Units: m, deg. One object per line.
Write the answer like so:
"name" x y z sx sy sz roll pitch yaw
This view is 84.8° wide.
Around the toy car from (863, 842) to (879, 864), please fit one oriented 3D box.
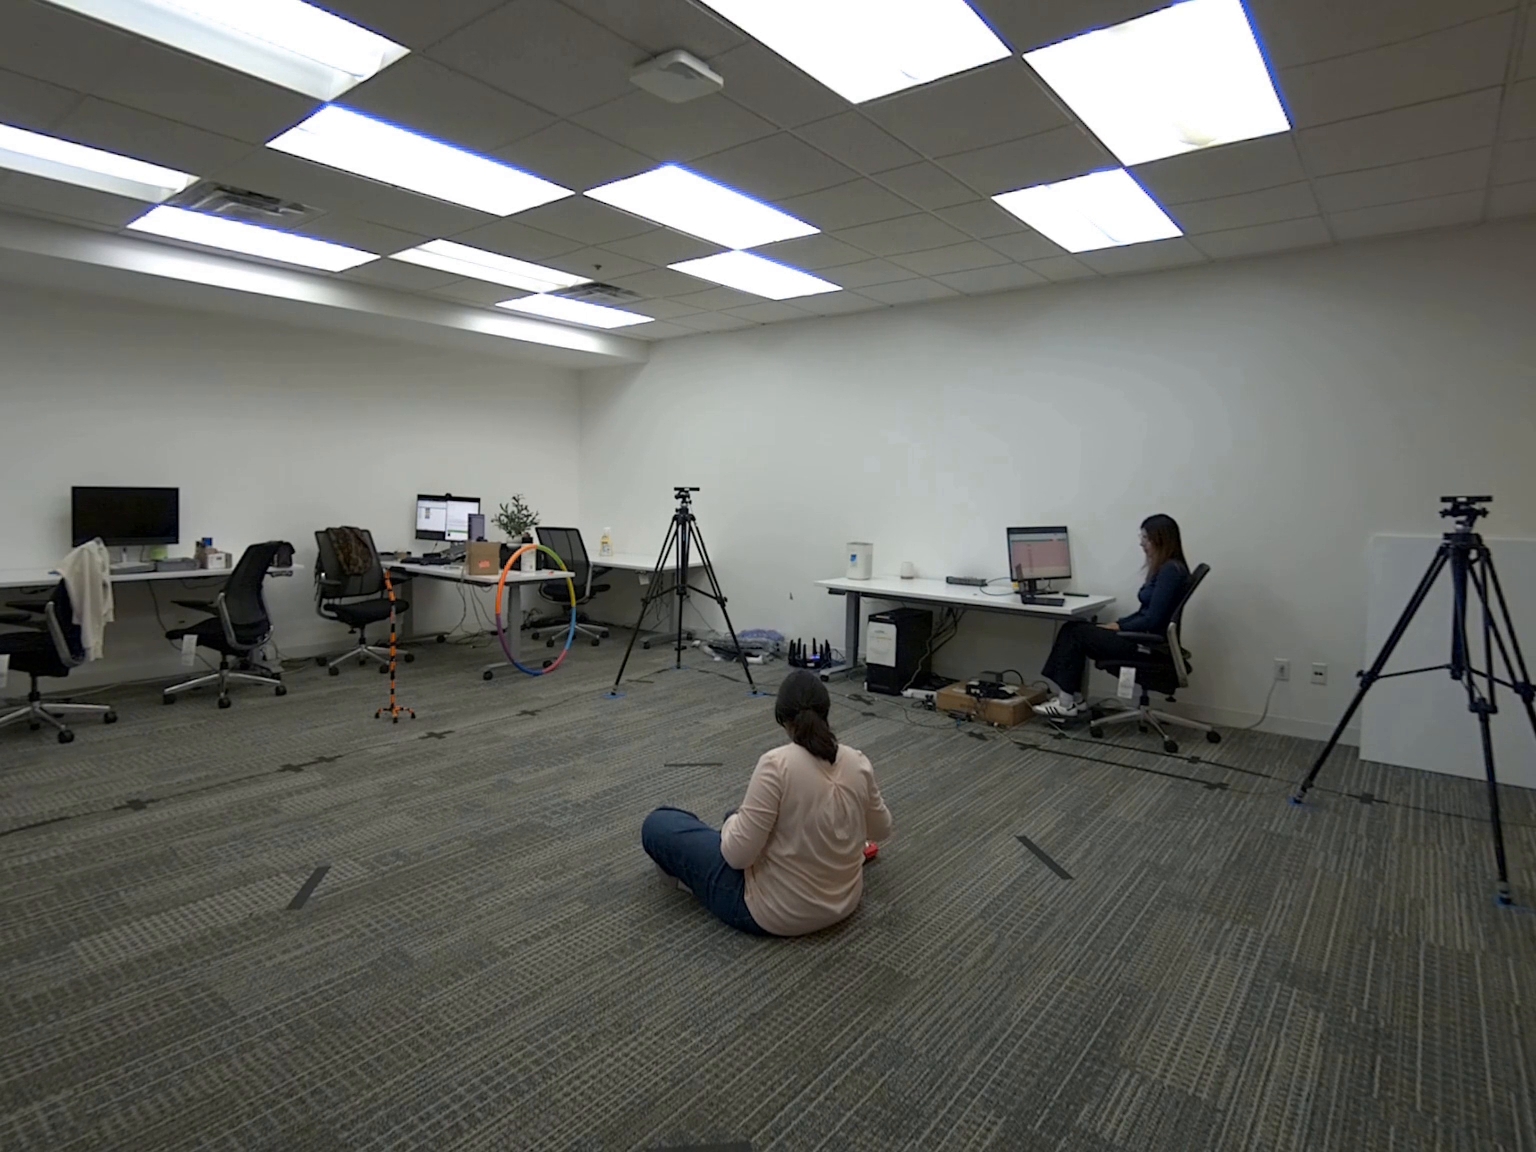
"toy car" 0.289 1.021 3.277 0.126 0.082 0.265 -3 17 -46
